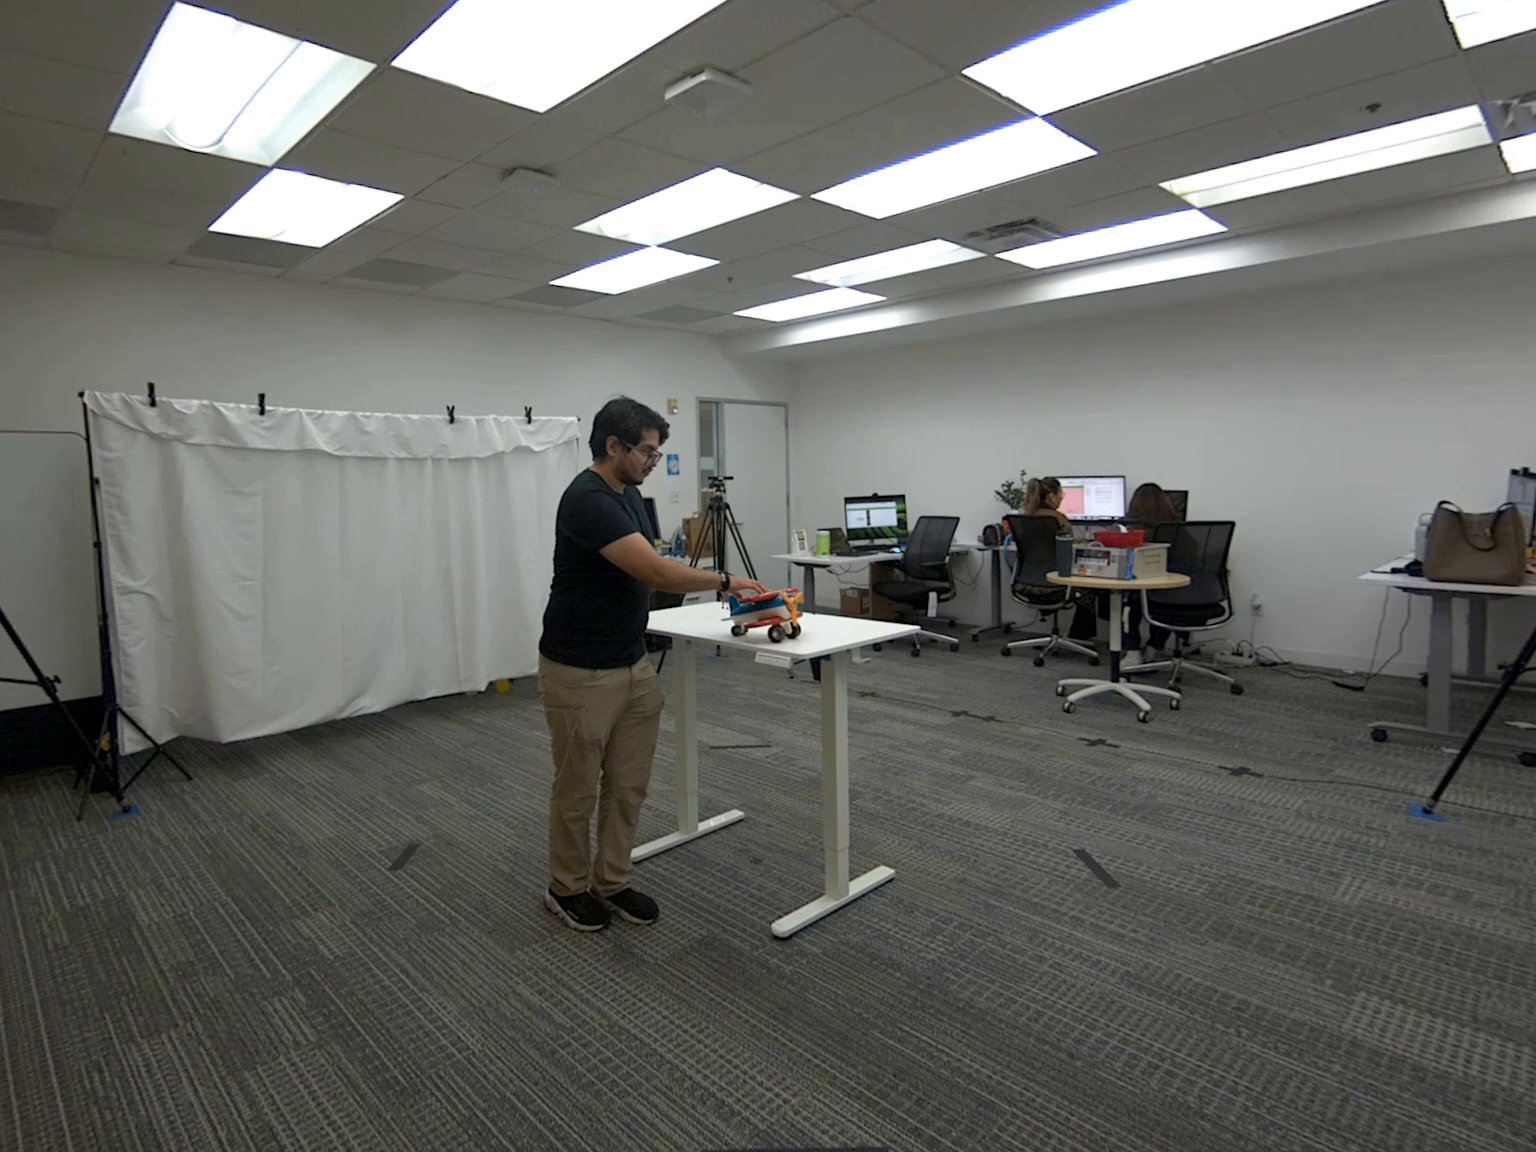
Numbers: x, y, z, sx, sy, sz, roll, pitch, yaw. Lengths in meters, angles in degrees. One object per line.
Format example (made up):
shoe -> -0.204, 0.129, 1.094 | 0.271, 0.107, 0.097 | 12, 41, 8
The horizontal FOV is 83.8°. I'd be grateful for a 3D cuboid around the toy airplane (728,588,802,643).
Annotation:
toy airplane -> -0.025, 0.120, 2.681 | 0.262, 0.156, 0.249 | 0, 5, 9
